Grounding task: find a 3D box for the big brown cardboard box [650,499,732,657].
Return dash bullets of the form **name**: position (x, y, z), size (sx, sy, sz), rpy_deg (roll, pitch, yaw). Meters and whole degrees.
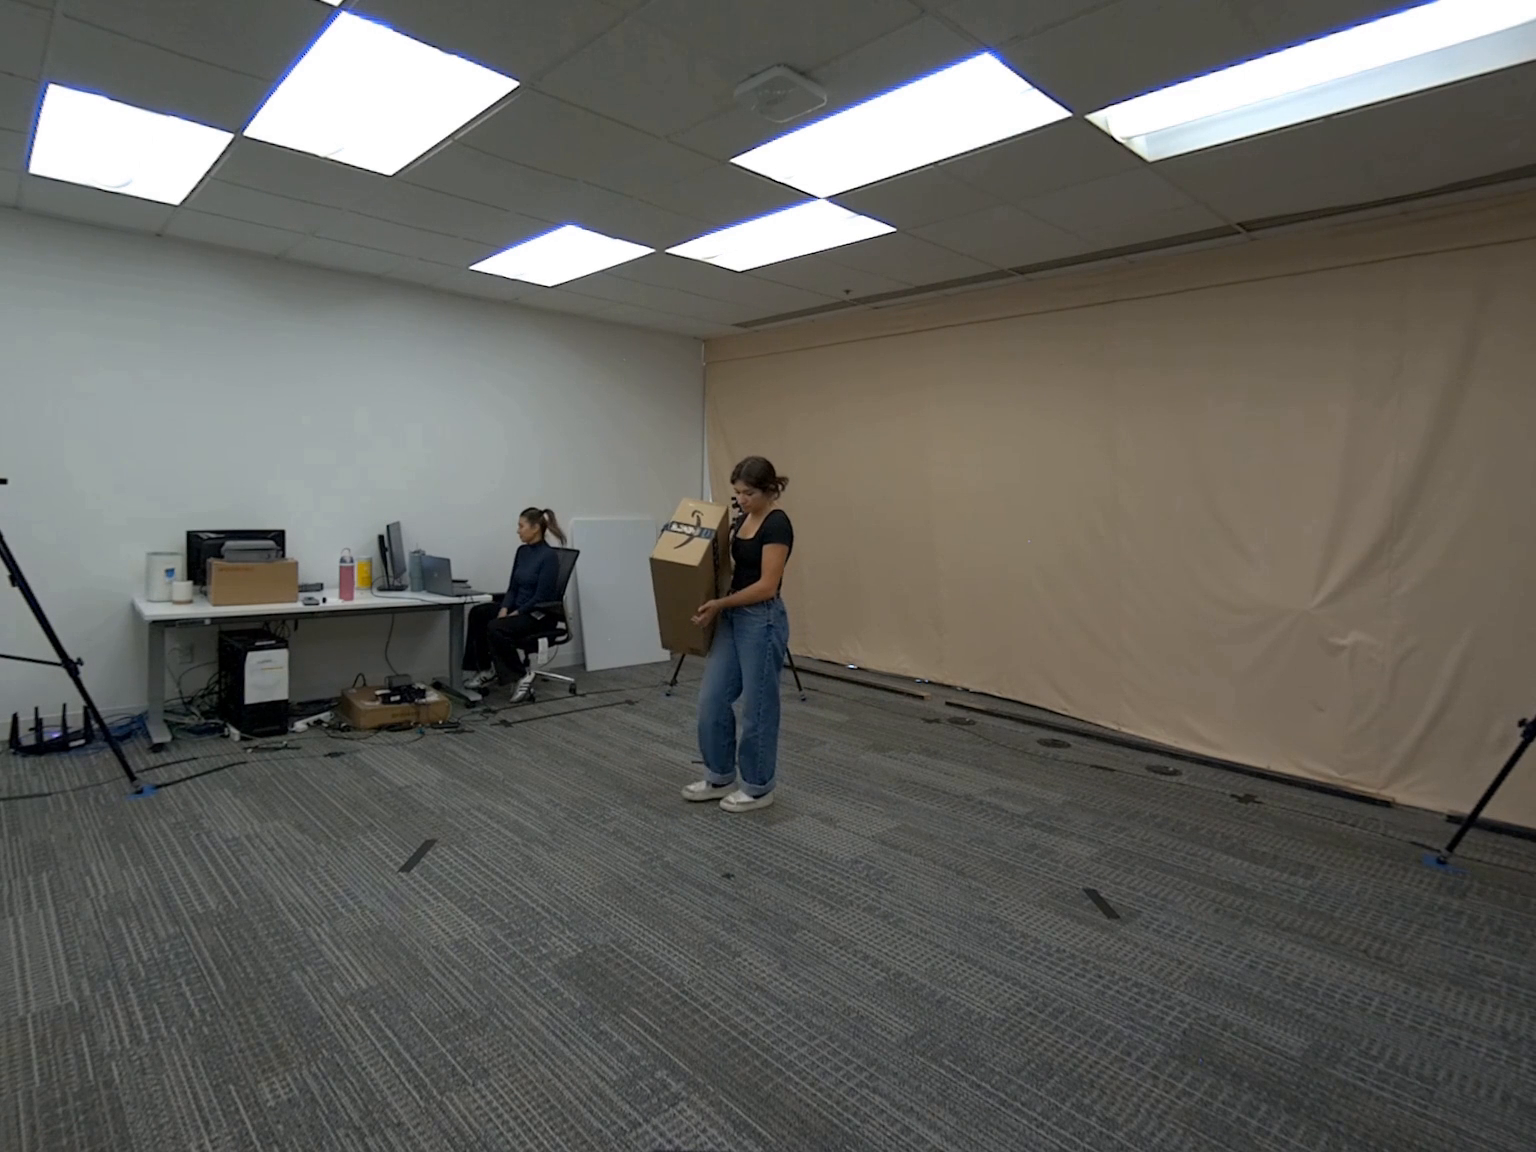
- **big brown cardboard box**: position (-0.348, 0.007, 3.783), size (0.236, 0.575, 0.421), rpy_deg (10, 42, 13)
